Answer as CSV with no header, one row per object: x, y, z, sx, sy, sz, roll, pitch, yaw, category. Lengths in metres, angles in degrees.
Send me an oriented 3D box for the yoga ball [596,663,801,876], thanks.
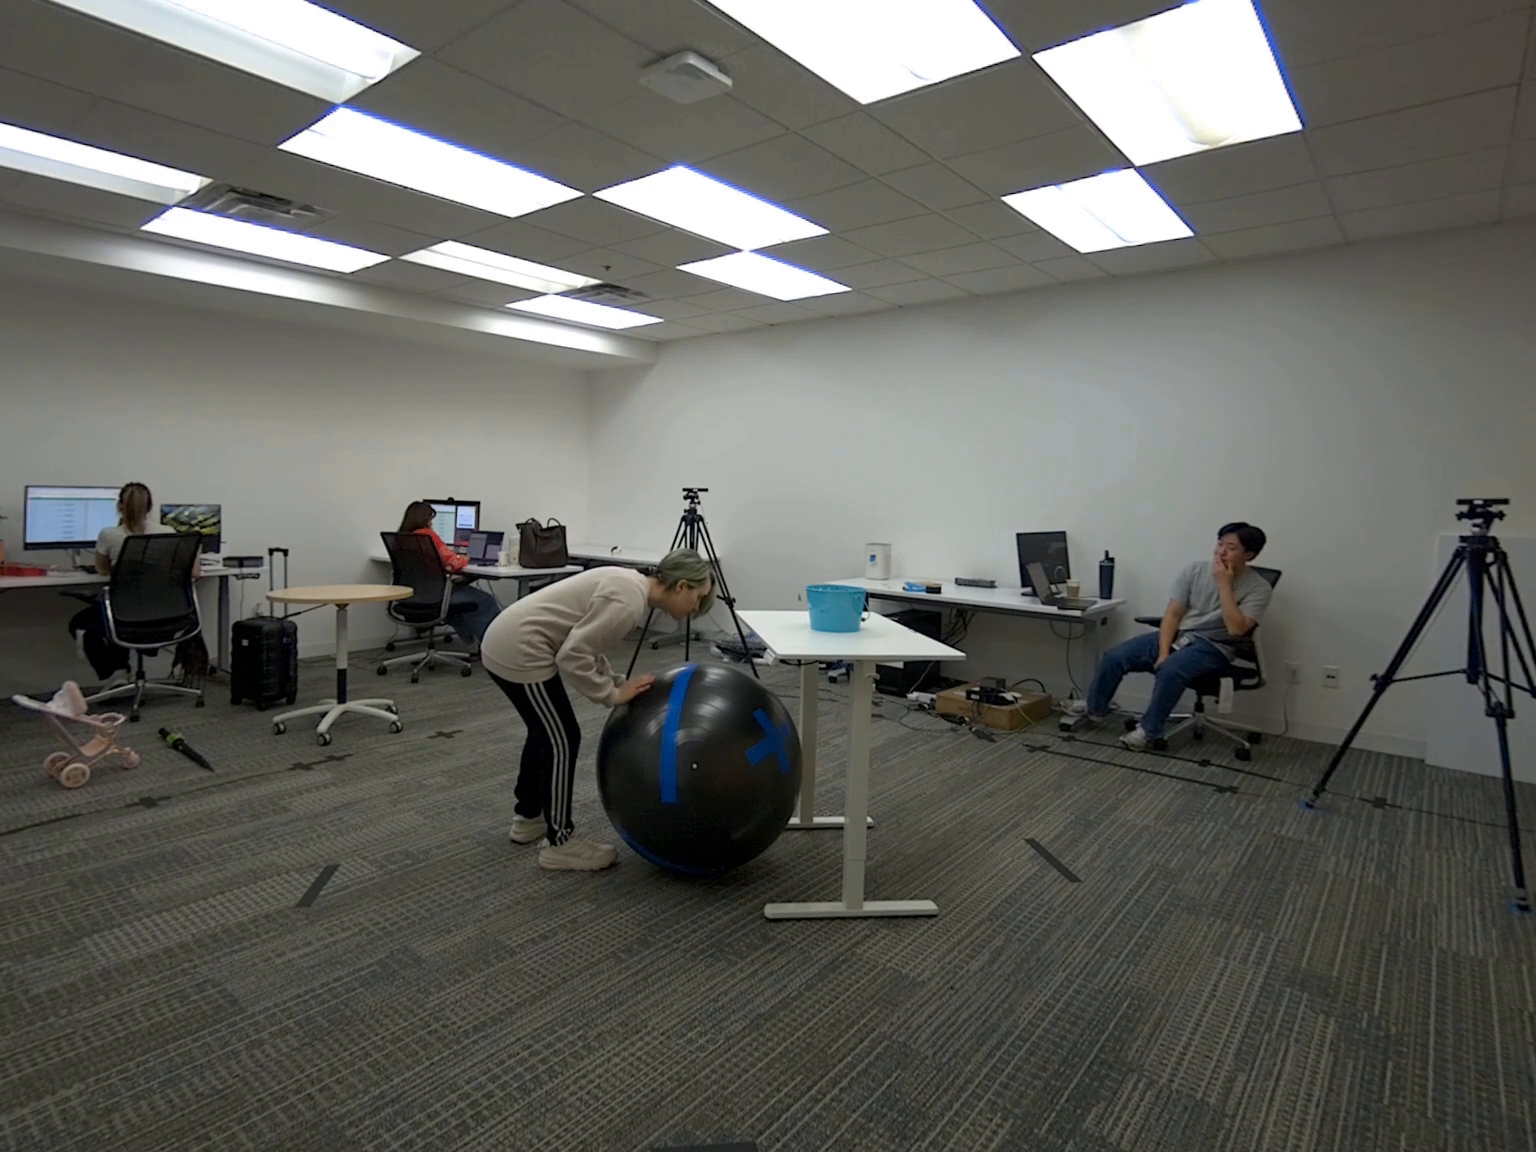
-0.260,0.699,3.138,0.757,0.755,0.762,1,4,-2,yoga ball
